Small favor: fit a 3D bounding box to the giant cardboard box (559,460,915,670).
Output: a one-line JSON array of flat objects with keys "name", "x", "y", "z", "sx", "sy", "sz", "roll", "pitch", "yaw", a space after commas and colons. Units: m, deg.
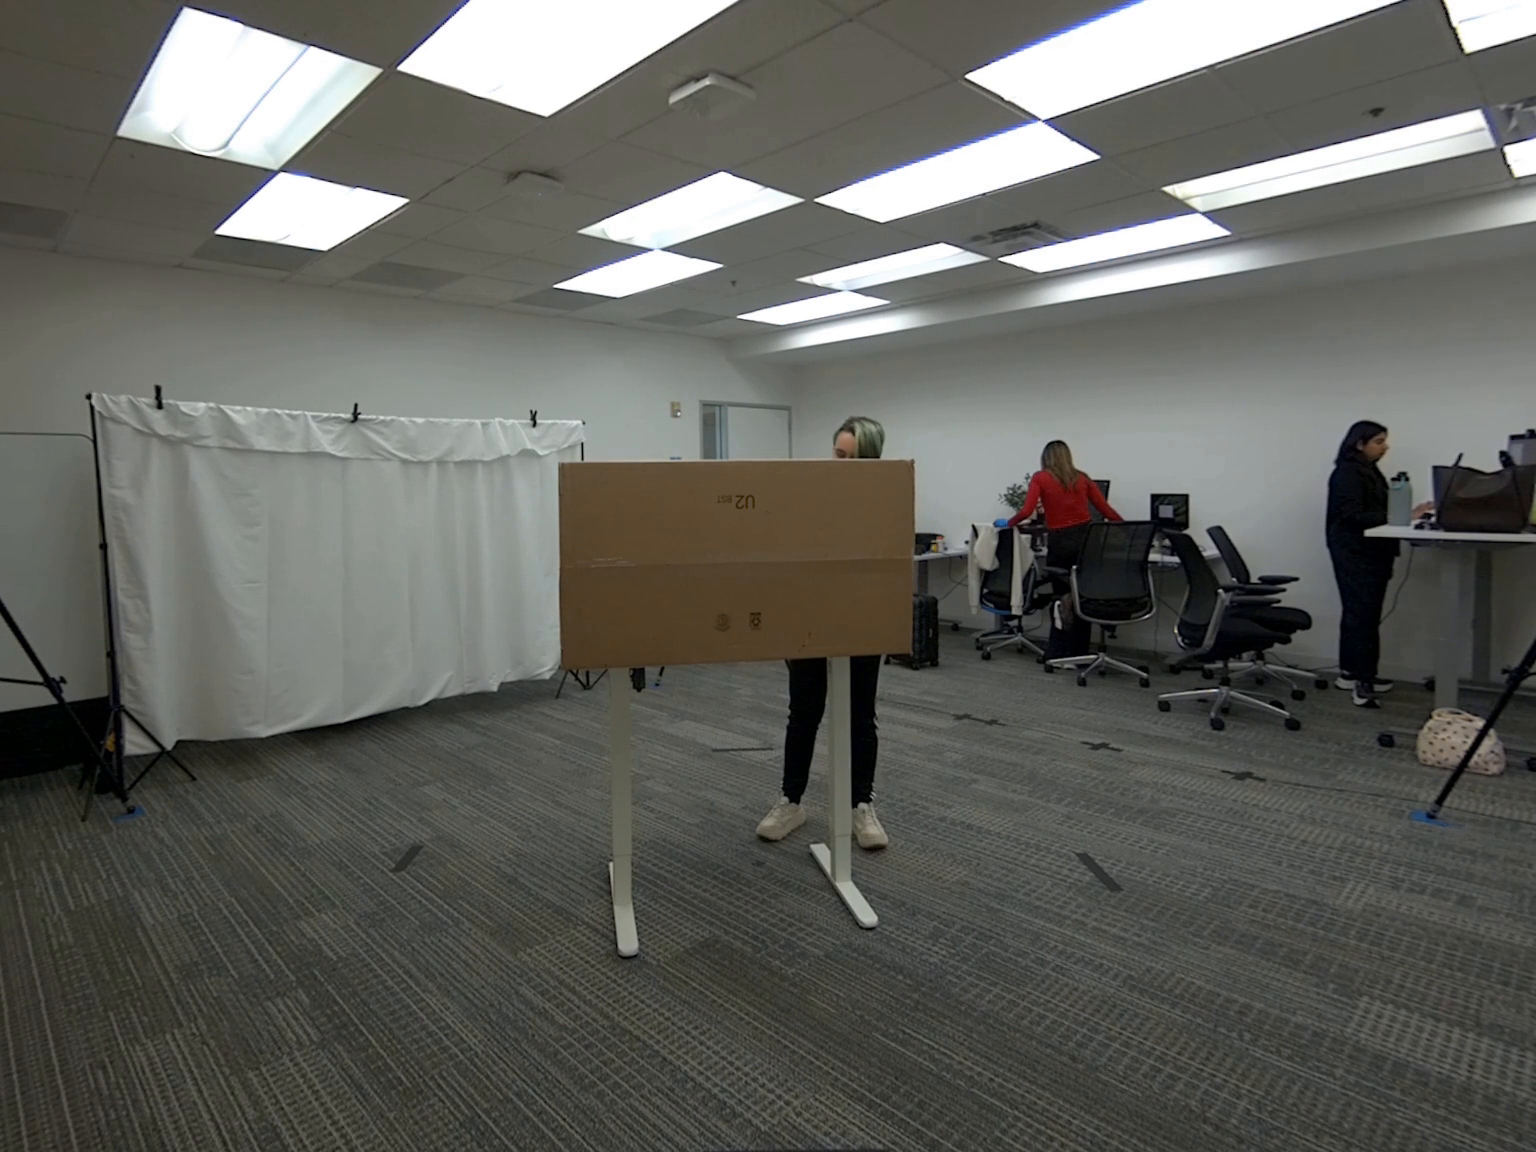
[{"name": "giant cardboard box", "x": -0.115, "y": -0.069, "z": 2.614, "sx": 1.016, "sy": 0.582, "sz": 0.453, "roll": -1, "pitch": 4, "yaw": -11}]
